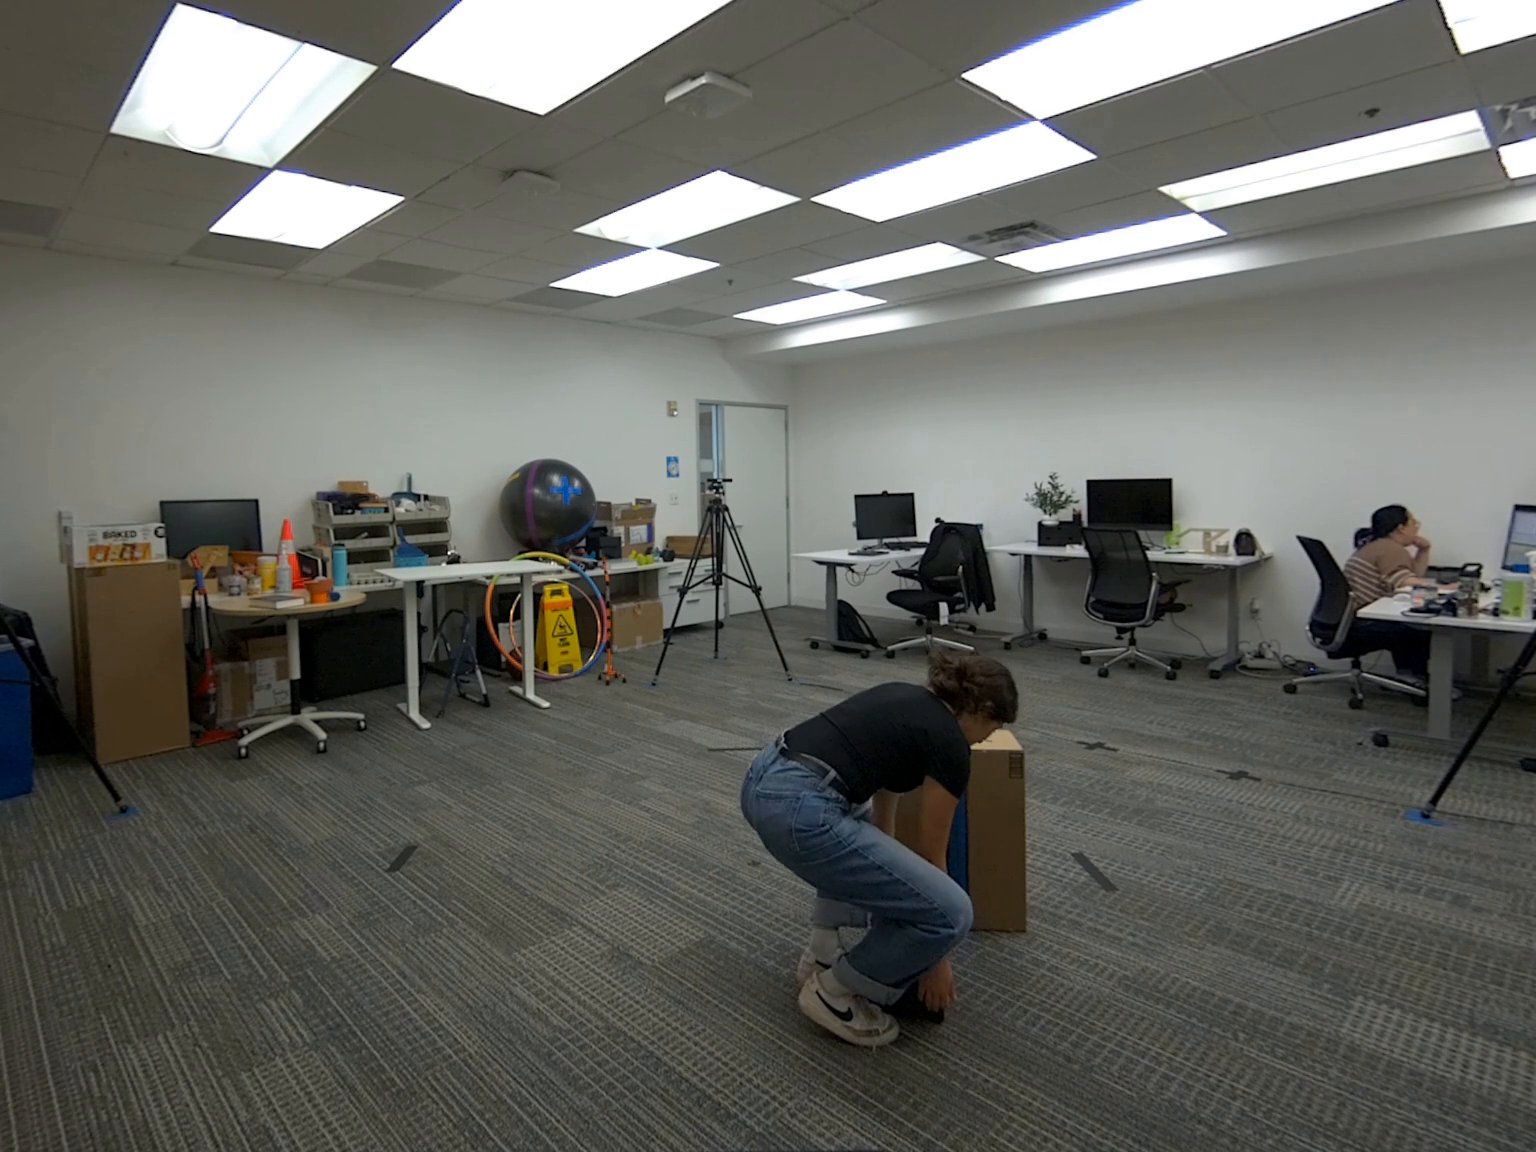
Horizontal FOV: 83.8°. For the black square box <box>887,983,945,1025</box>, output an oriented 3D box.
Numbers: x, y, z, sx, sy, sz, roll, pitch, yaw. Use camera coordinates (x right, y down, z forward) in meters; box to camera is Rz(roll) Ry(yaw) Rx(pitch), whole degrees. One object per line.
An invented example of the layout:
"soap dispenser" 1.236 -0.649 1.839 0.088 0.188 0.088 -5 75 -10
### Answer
"black square box" 0.428 1.026 2.289 0.158 0.227 0.215 -1 6 12
